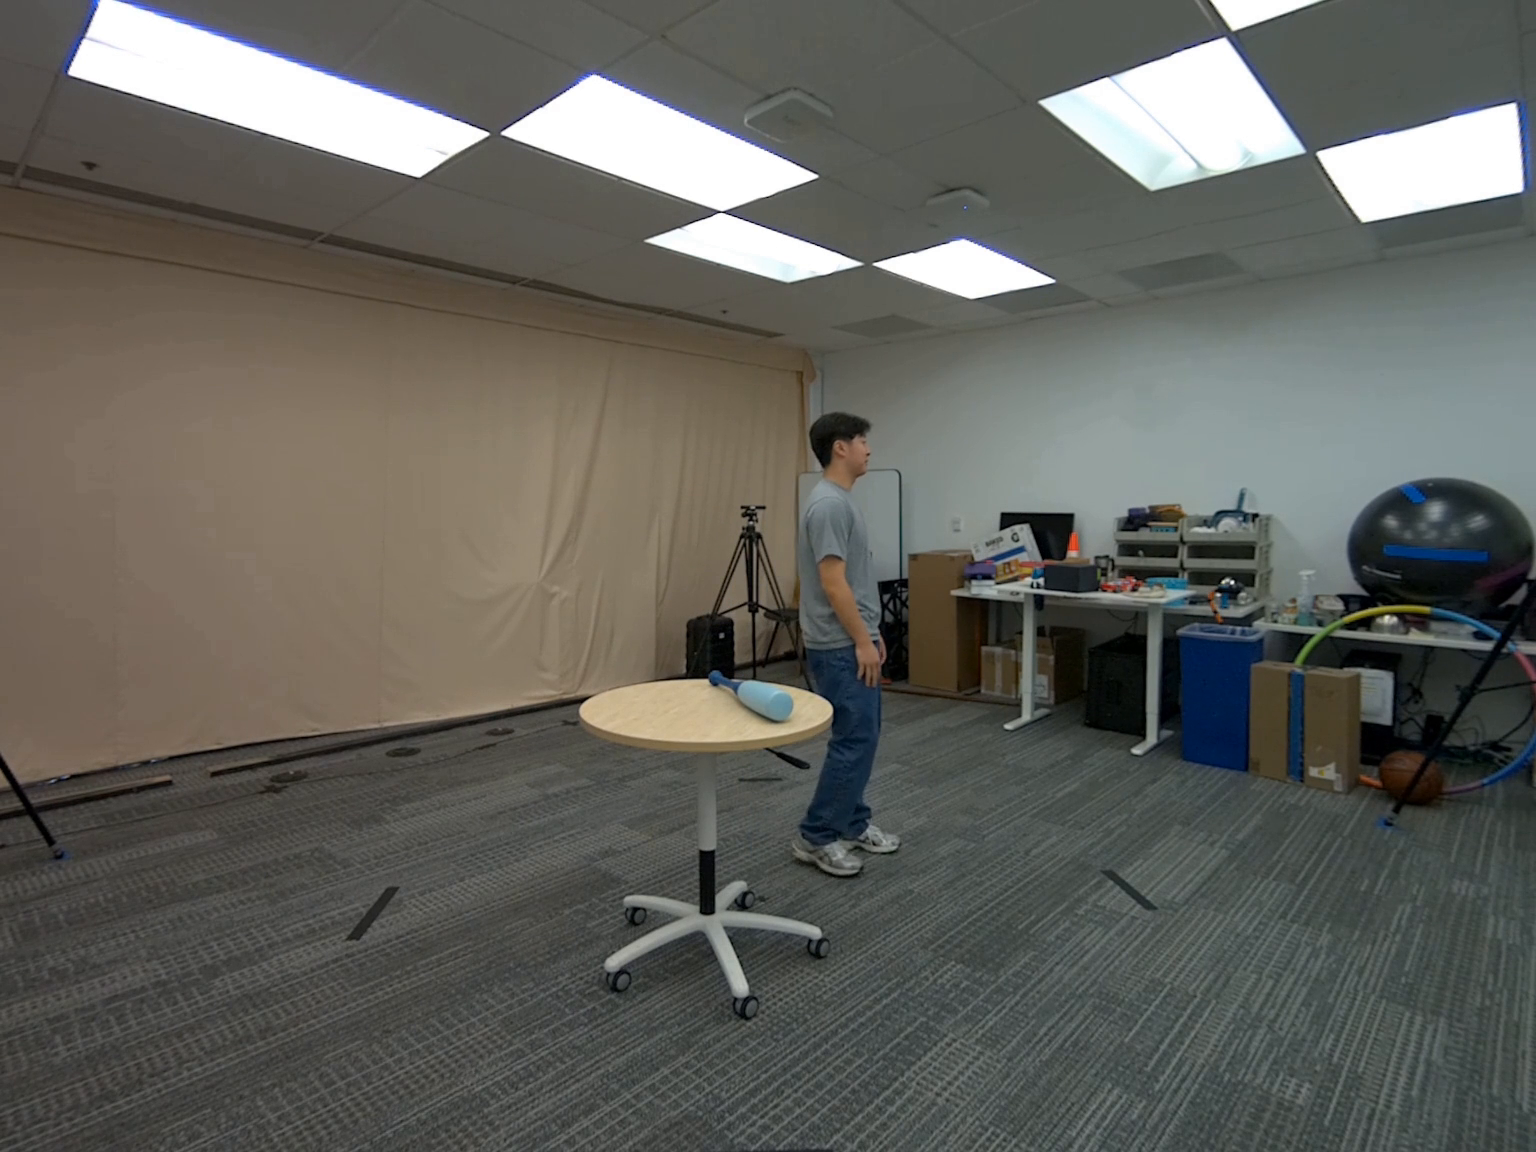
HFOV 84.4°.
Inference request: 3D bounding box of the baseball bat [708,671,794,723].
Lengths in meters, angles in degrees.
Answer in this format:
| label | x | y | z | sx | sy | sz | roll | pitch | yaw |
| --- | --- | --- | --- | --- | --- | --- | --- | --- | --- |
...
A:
| label | x | y | z | sx | sy | sz | roll | pitch | yaw |
| --- | --- | --- | --- | --- | --- | --- | --- | --- | --- |
| baseball bat | -0.070 | 0.356 | 2.599 | 0.087 | 0.089 | 0.555 | -1 | 2 | -23 |
